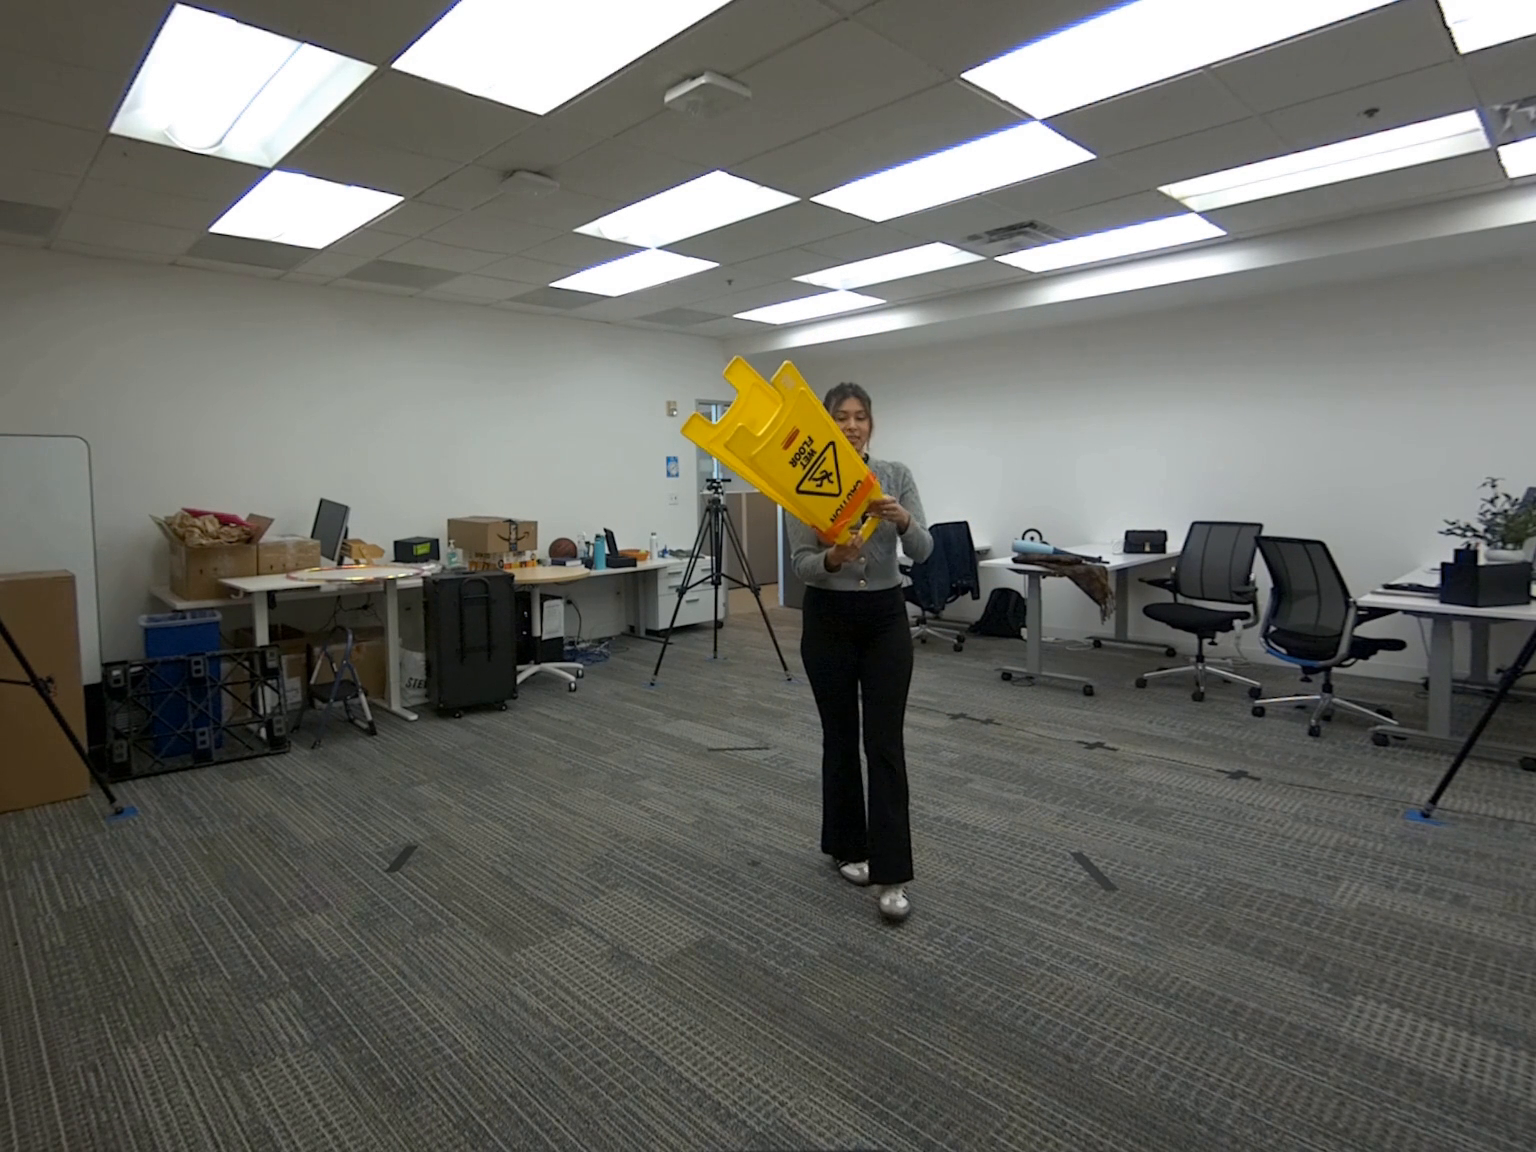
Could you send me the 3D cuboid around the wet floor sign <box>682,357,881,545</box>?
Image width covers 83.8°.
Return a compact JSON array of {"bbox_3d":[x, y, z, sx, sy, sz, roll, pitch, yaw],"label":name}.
[{"bbox_3d":[0.116,-0.313,2.452,0.625,0.282,0.299,39,-5,-29],"label":"wet floor sign"}]
